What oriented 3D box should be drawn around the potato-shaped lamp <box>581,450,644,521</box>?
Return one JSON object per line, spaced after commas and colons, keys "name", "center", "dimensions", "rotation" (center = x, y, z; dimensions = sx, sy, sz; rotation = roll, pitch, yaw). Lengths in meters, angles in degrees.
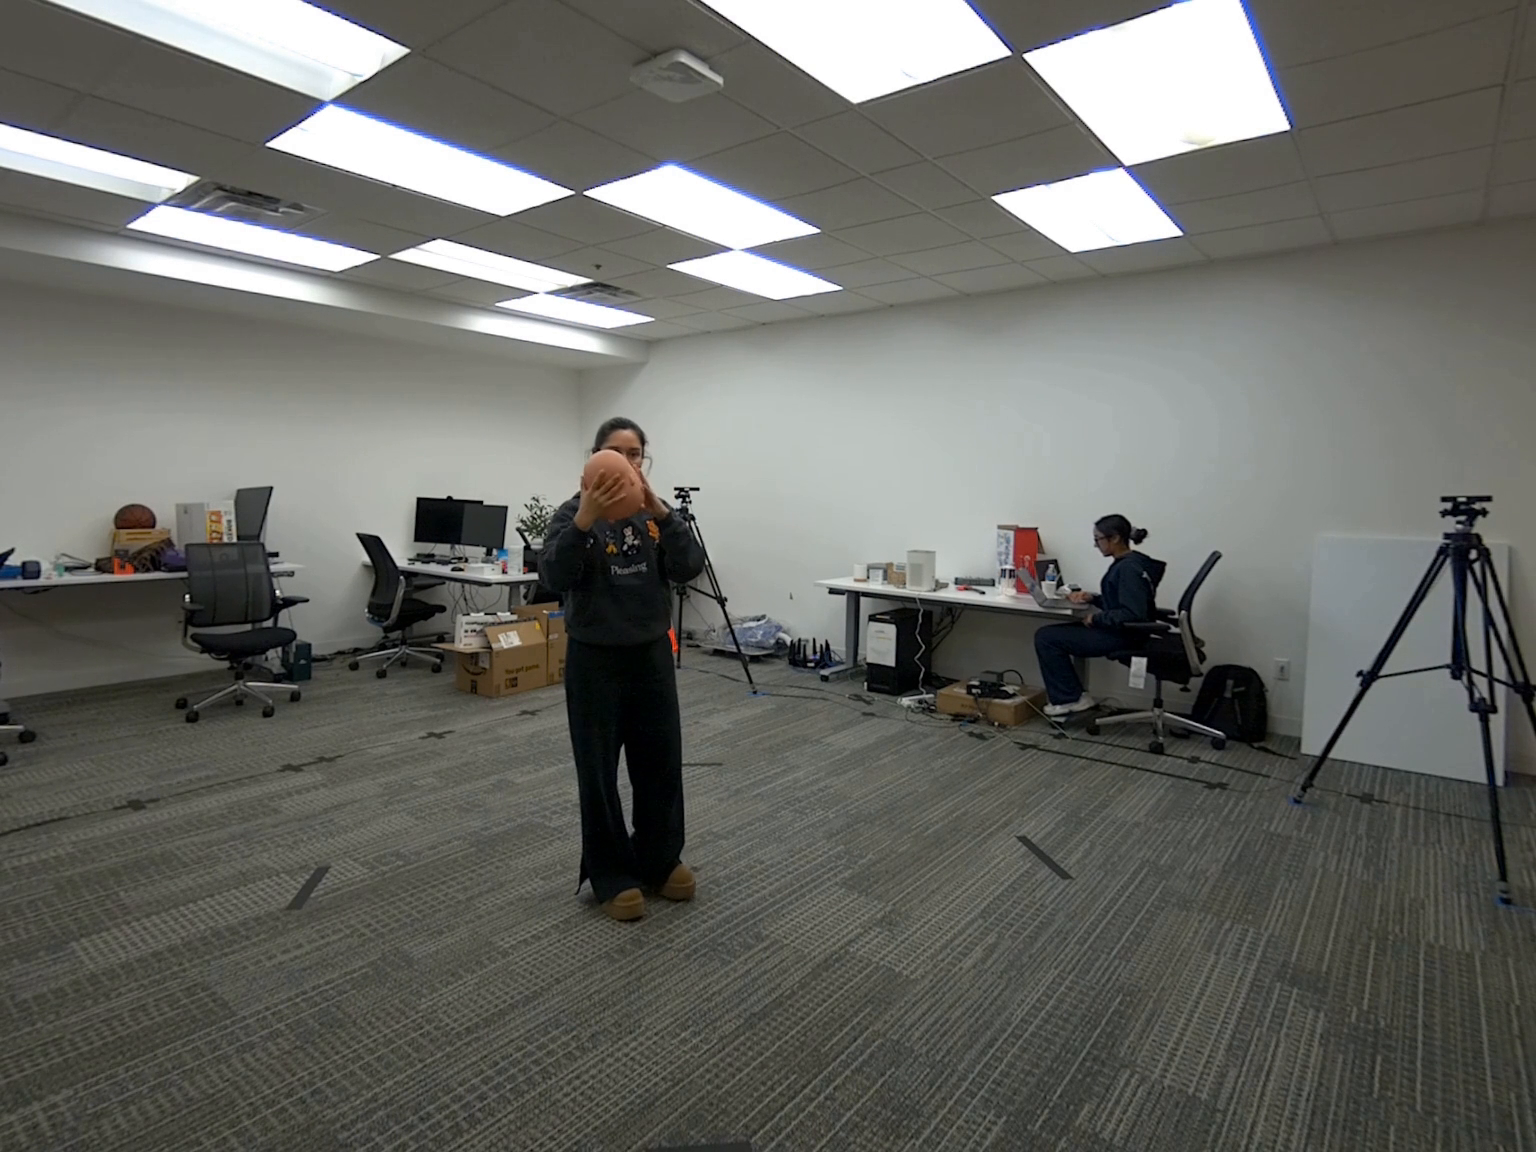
{"name": "potato-shaped lamp", "center": [-0.471, -0.283, 2.540], "dimensions": [0.170, 0.191, 0.172], "rotation": [-36, 42, -22]}
